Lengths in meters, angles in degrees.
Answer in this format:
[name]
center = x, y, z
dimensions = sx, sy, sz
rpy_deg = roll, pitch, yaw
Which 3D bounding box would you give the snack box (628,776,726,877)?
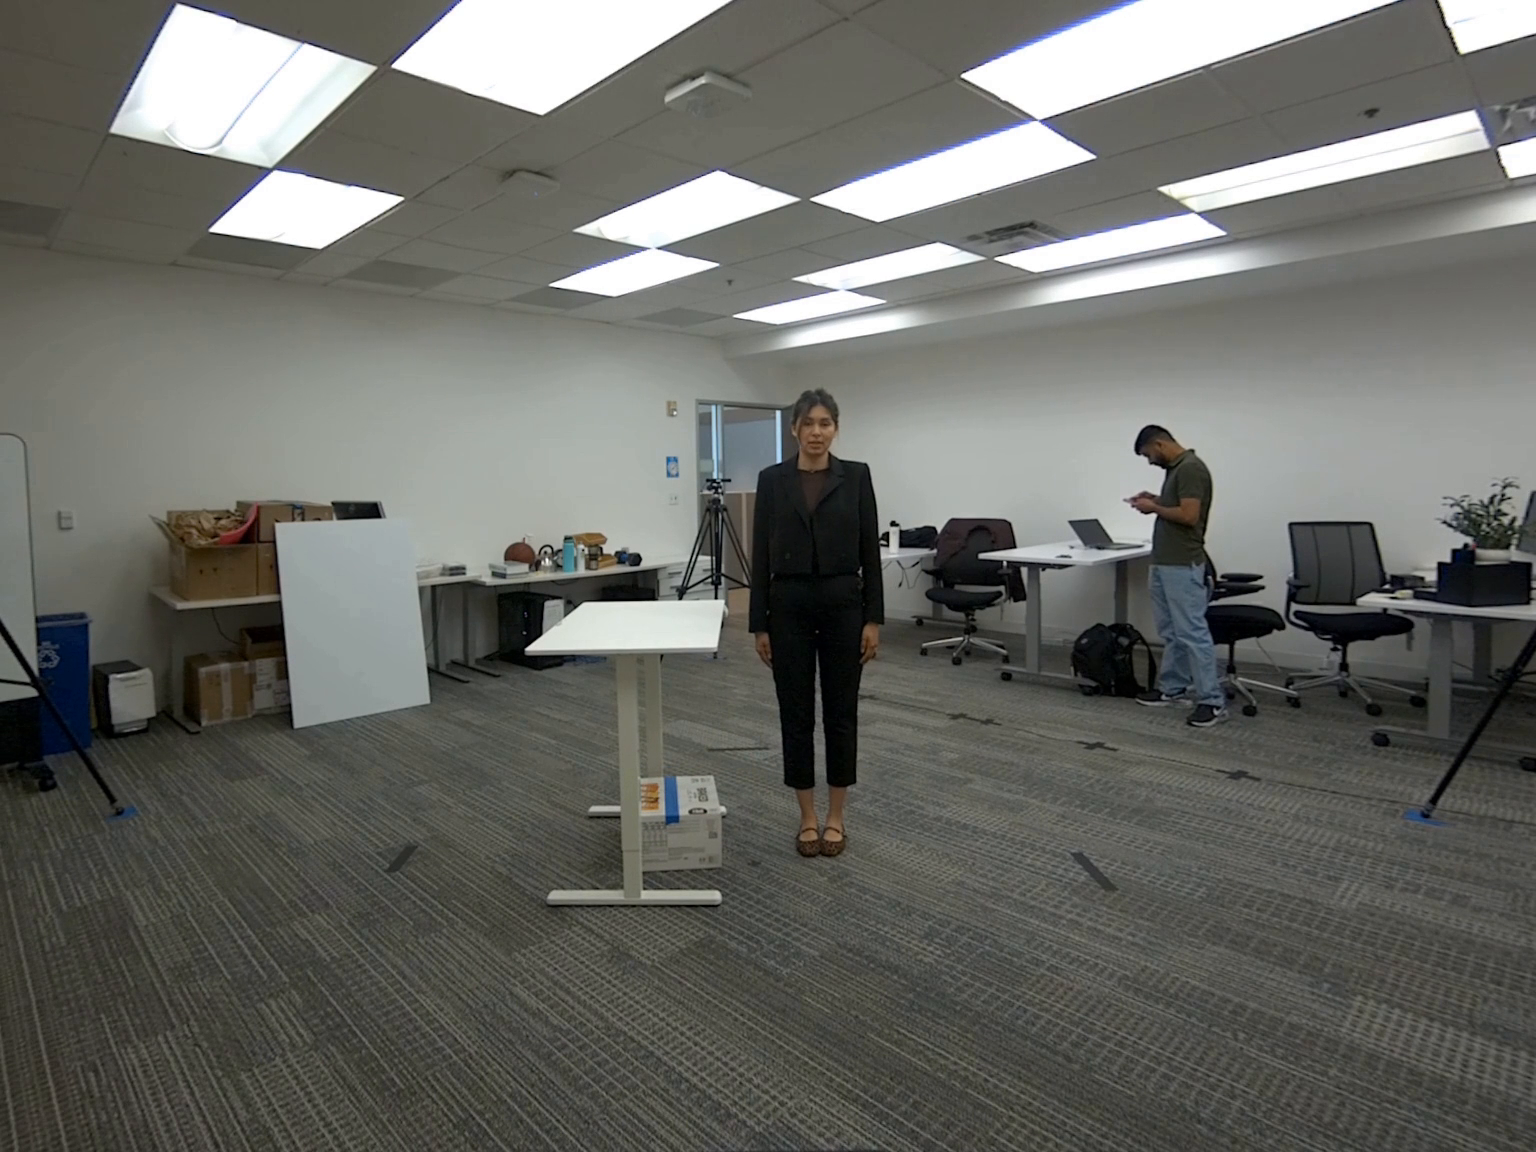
[snack box]
center = -0.355, 0.935, 3.246
dimensions = 0.338, 0.205, 0.409
rpy_deg = -2, 5, -7
